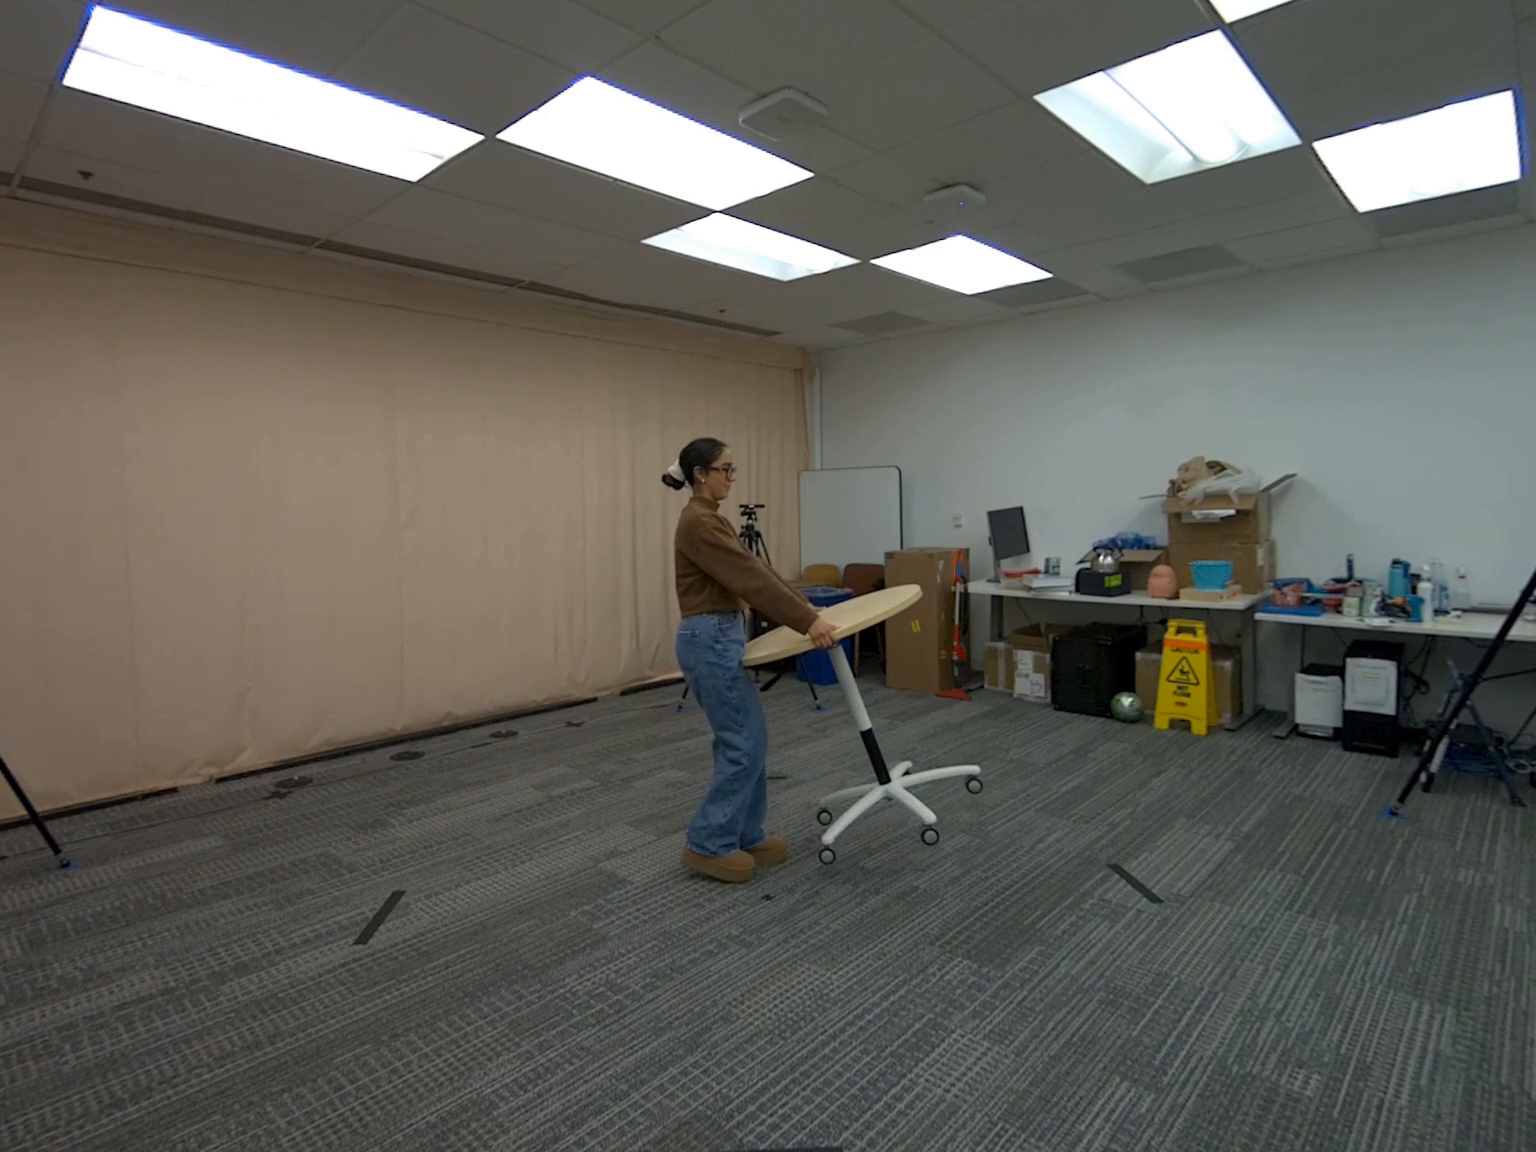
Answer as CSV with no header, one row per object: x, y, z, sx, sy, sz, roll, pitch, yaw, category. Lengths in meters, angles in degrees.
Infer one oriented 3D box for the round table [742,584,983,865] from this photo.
0.371,0.548,3.223,0.785,0.785,0.787,-20,2,-1,round table
